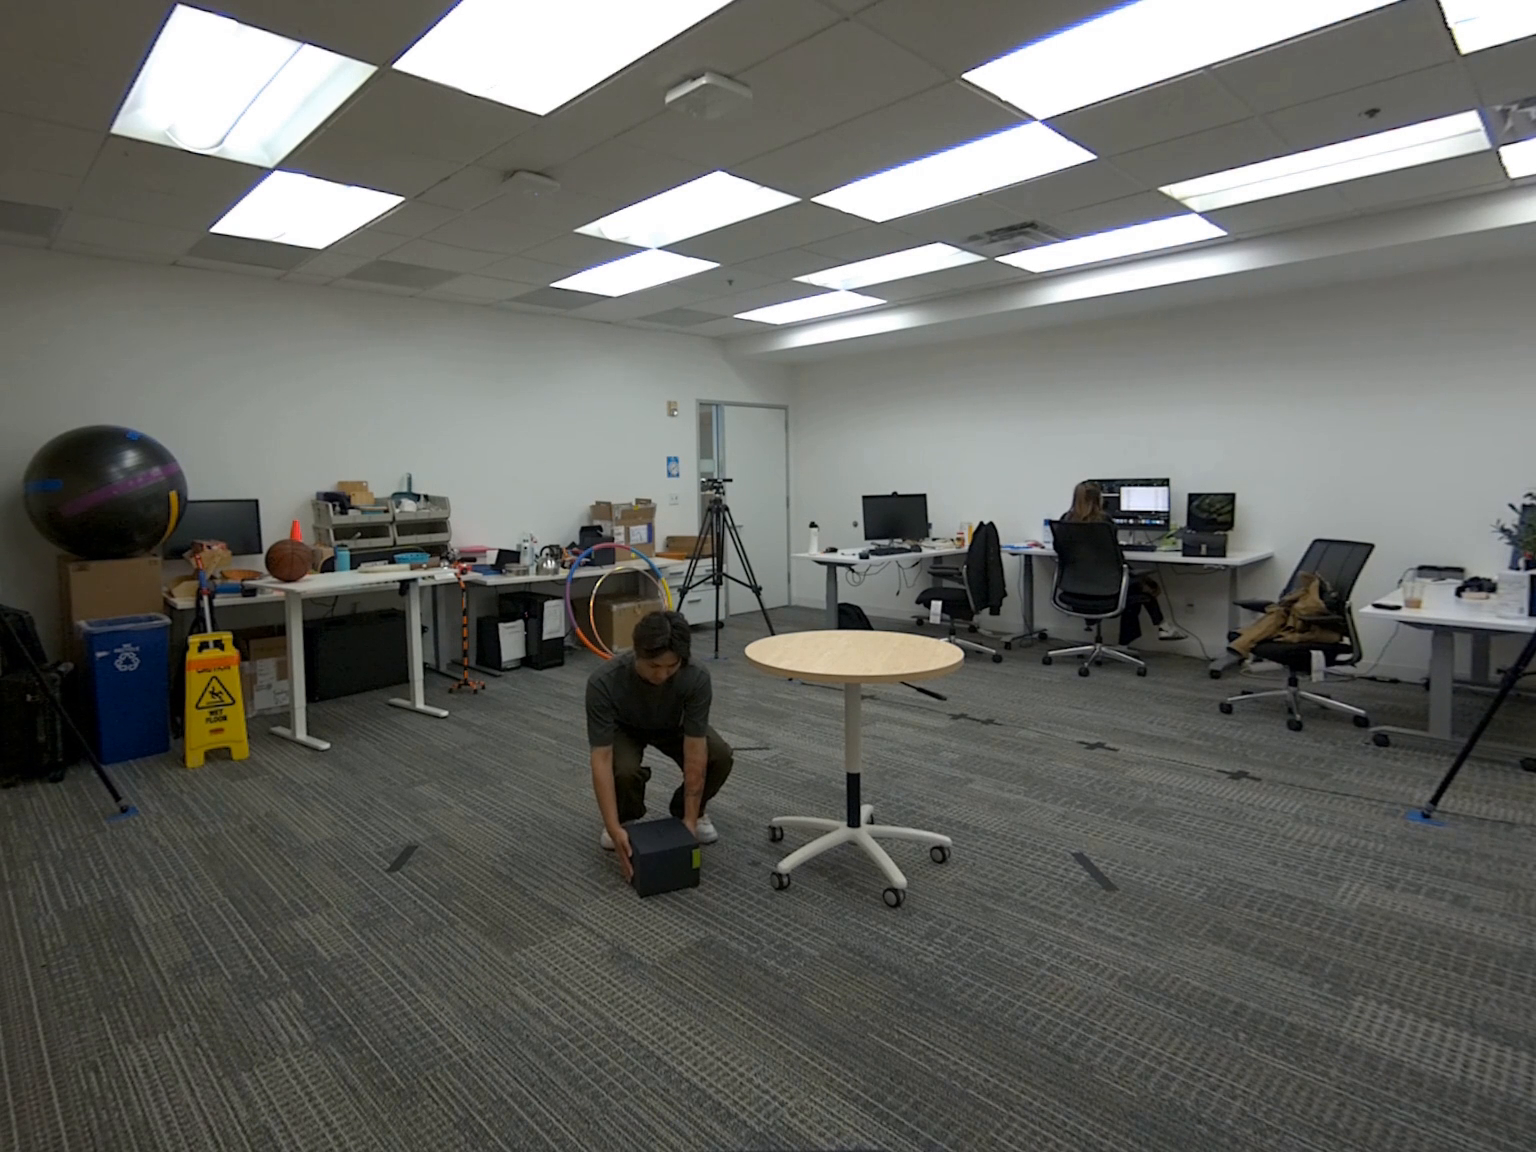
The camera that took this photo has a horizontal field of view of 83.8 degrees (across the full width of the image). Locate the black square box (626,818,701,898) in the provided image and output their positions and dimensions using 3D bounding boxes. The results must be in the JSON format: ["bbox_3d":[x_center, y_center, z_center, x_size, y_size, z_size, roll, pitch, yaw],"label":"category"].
[{"bbox_3d":[-0.381,0.977,2.991,0.212,0.155,0.234,-3,8,-25],"label":"black square box"}]
